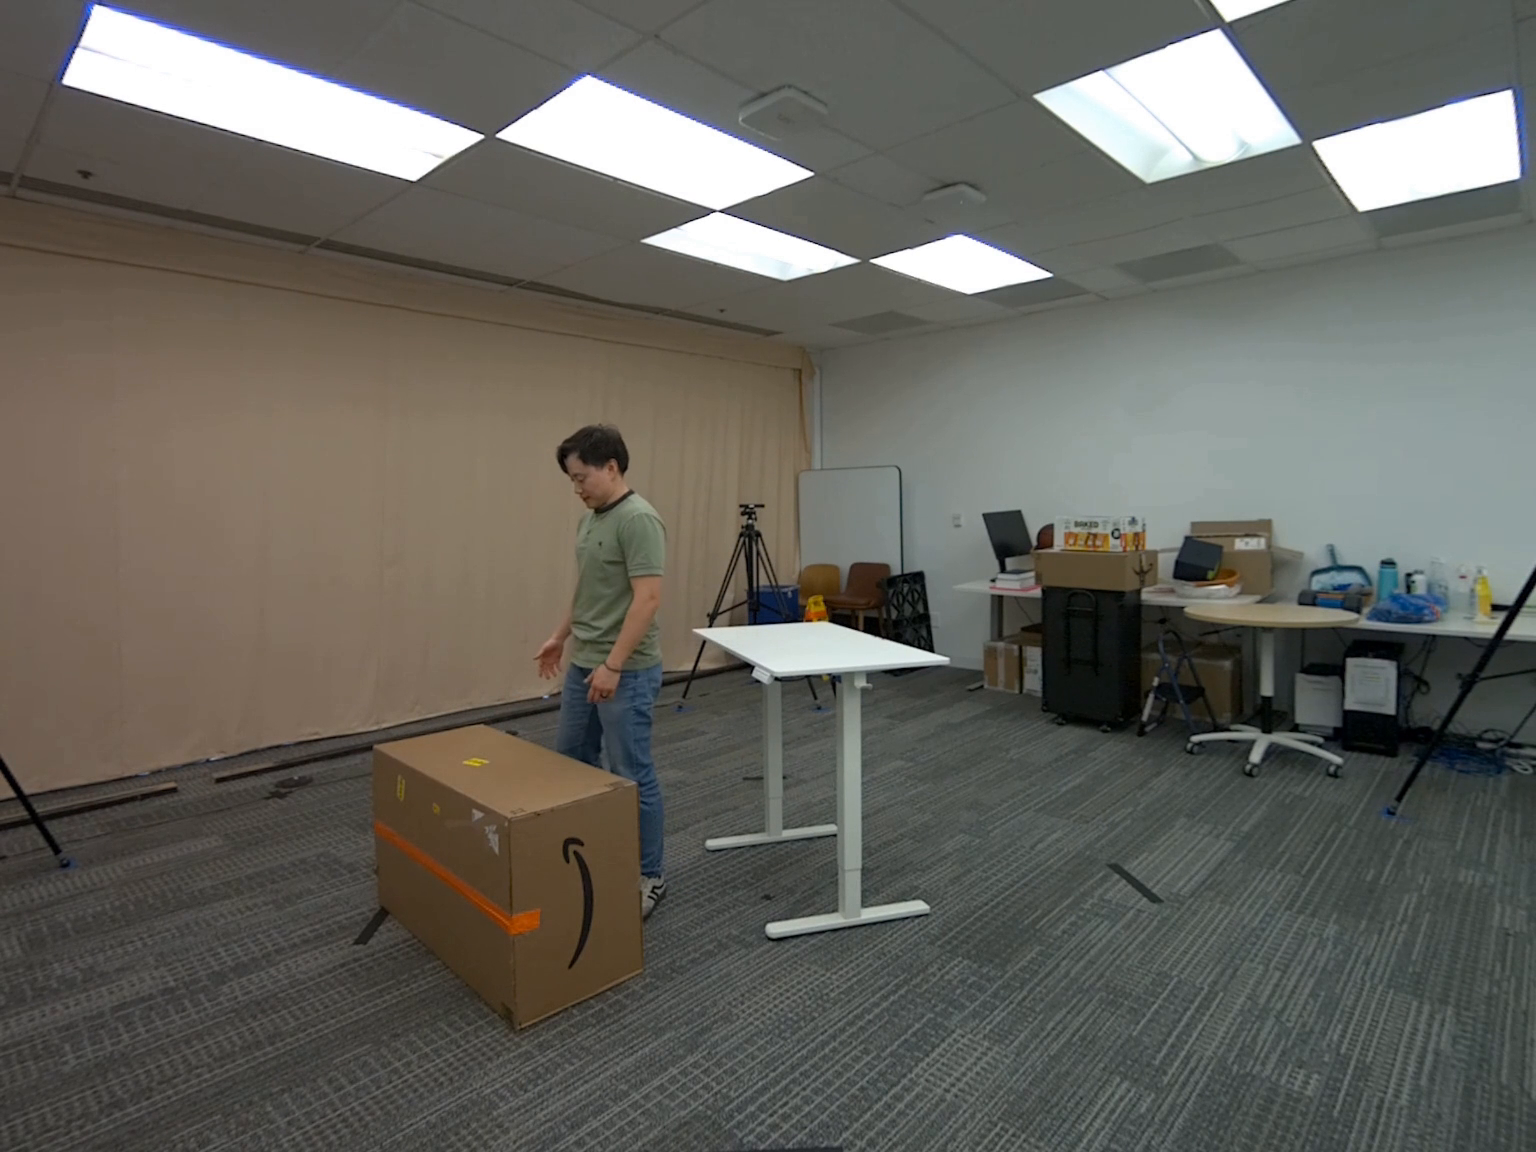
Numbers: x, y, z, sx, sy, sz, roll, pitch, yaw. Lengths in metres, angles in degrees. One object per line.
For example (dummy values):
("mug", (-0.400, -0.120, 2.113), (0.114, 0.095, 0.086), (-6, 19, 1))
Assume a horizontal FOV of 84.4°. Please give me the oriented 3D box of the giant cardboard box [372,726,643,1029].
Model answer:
("giant cardboard box", (-0.886, 0.894, 2.743), (0.413, 0.576, 1.060), (-3, 4, -43))
